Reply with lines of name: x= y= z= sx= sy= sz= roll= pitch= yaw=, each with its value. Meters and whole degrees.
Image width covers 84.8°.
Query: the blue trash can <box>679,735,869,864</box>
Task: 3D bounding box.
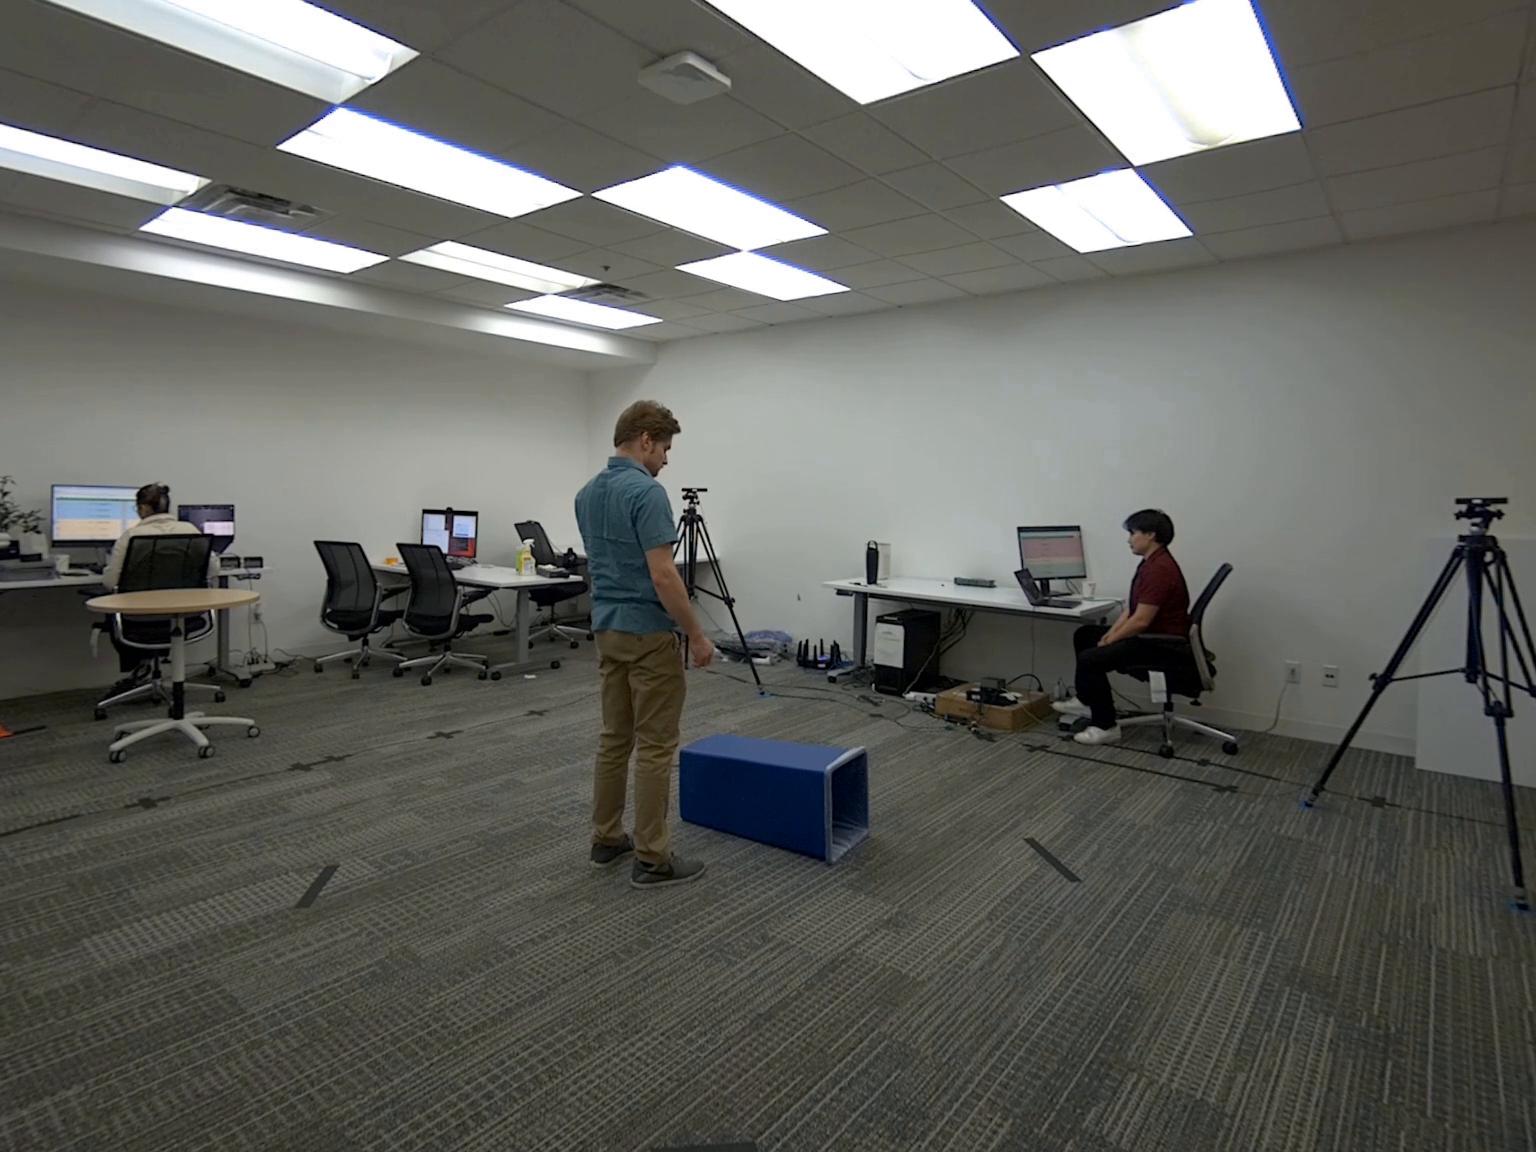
blue trash can: x=0.002 y=0.874 z=3.485 sx=0.734 sy=0.377 sz=0.364 roll=1 pitch=4 yaw=31
